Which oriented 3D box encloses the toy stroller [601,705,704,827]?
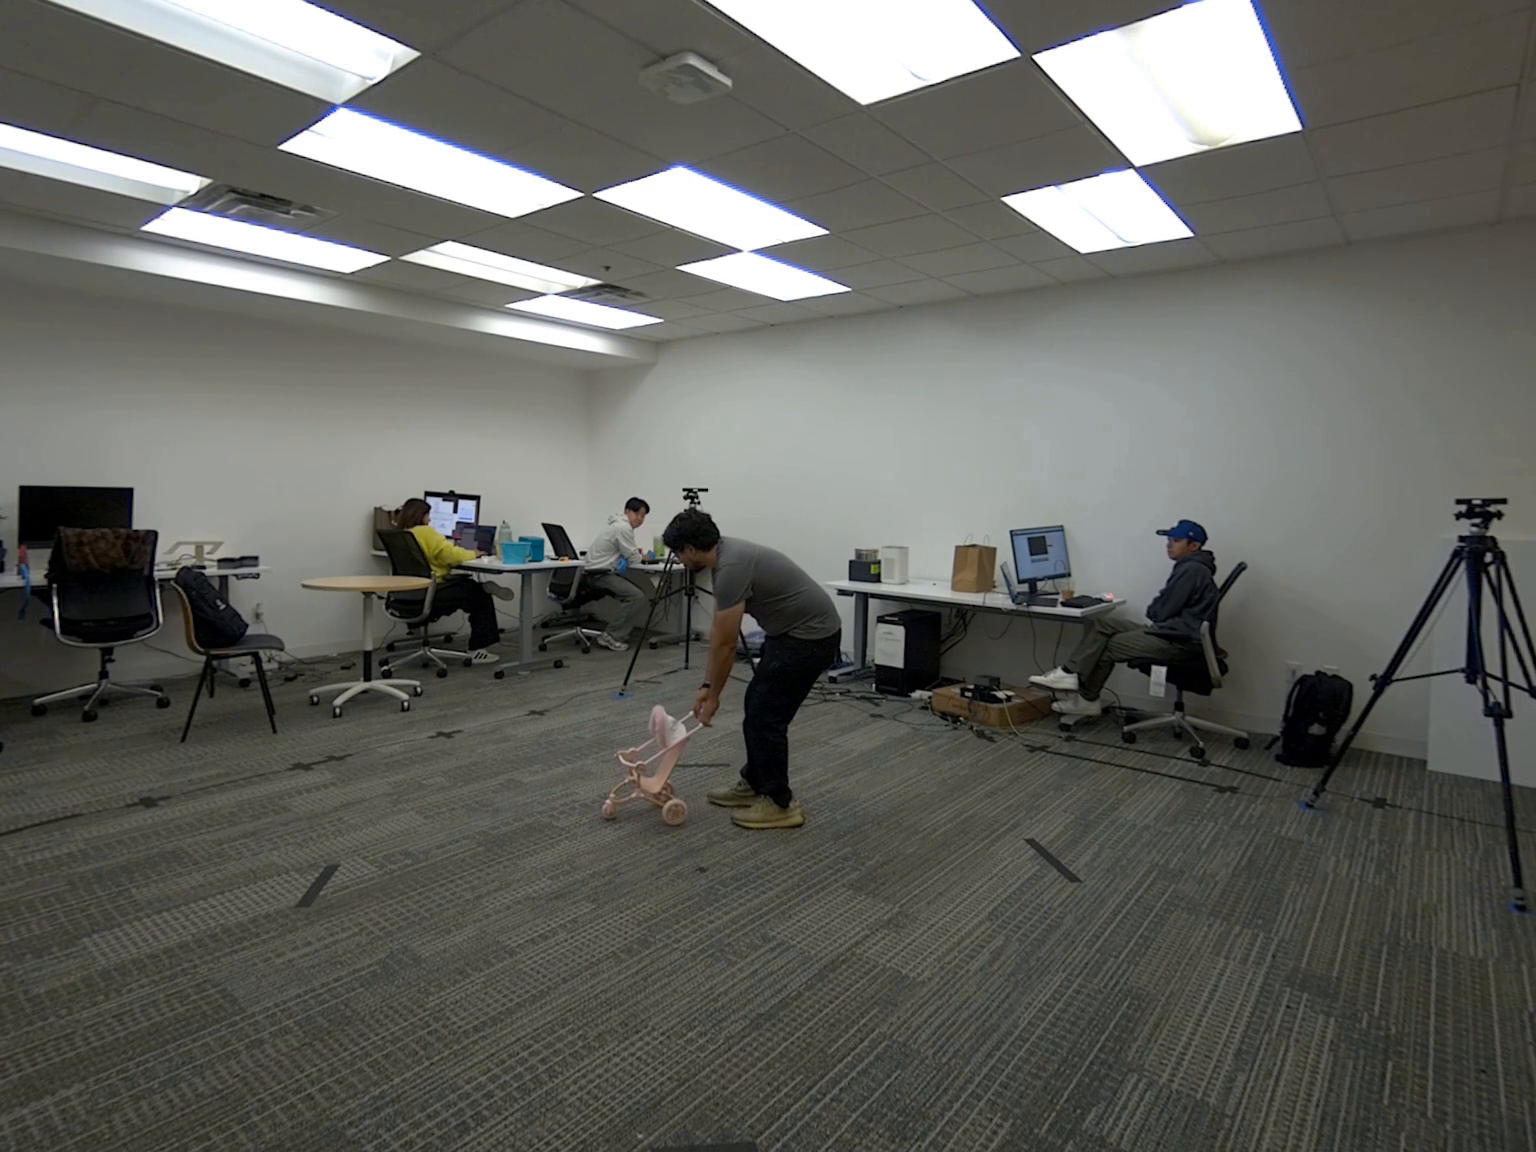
[{"bbox_3d":[-0.496,0.789,3.613,0.336,0.535,0.286,17,-1,-13],"label":"toy stroller"}]
